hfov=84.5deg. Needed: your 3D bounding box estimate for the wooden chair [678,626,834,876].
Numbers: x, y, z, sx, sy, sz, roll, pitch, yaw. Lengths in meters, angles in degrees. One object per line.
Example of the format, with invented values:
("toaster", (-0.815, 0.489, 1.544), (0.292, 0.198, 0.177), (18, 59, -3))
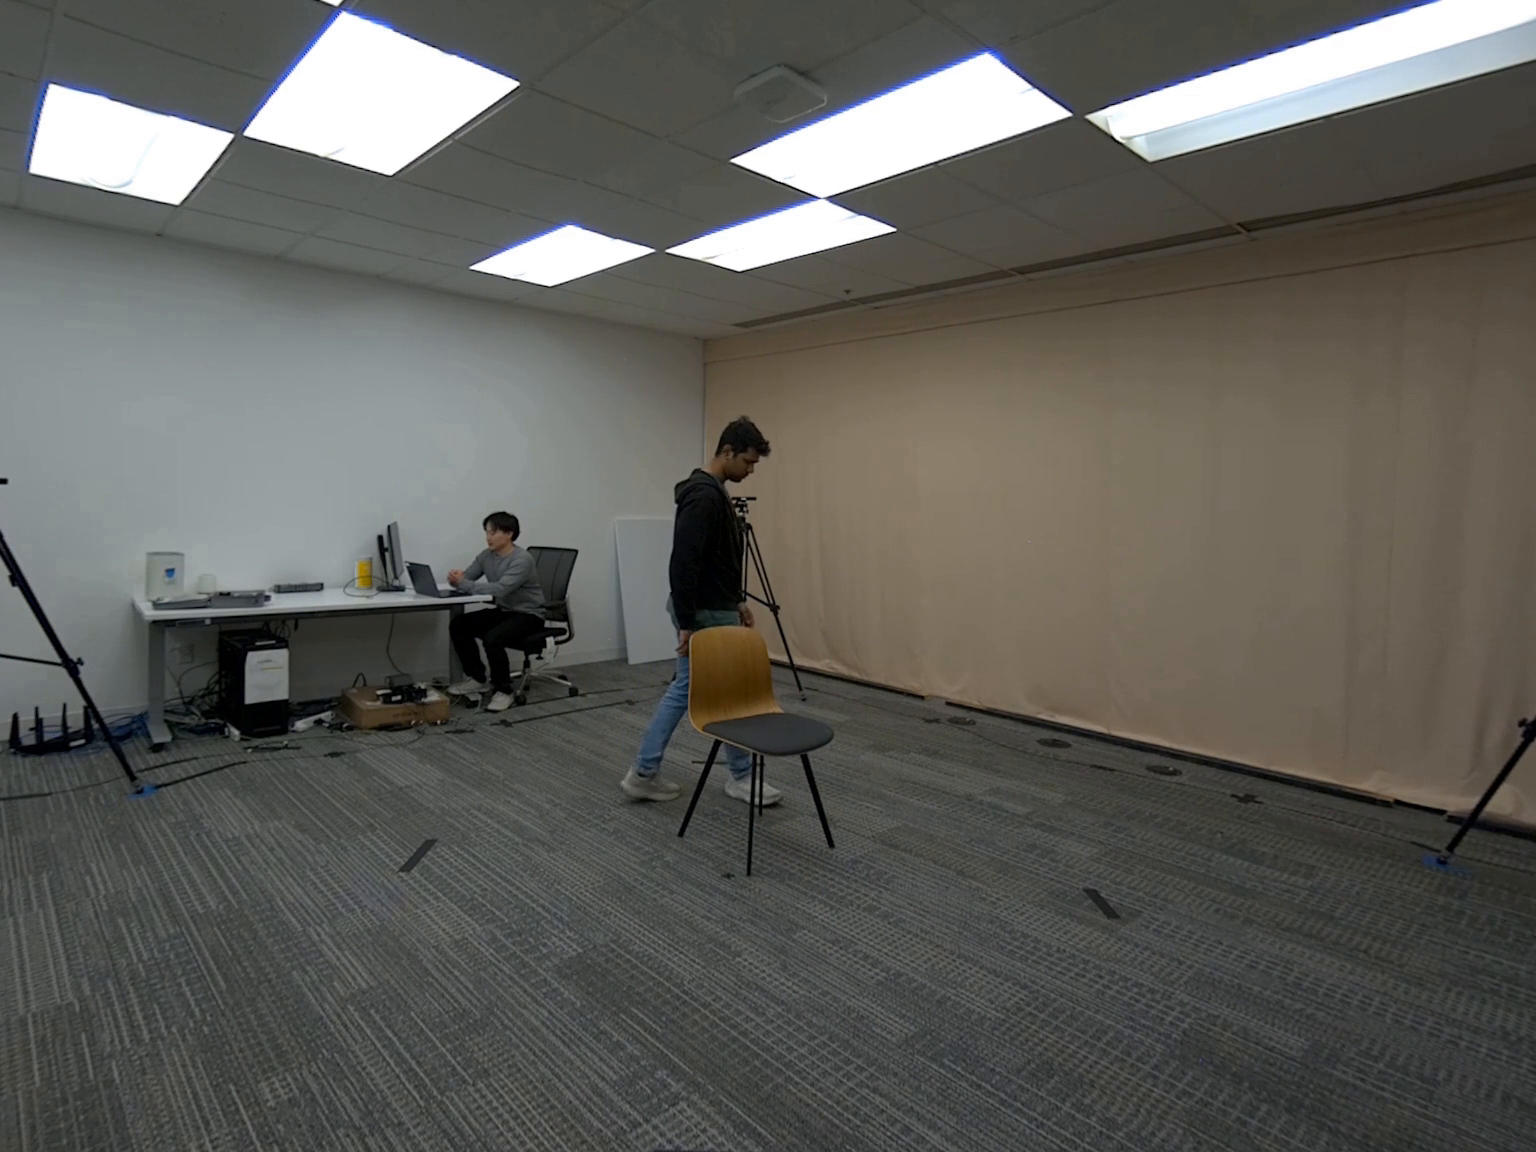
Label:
("wooden chair", (-0.042, 0.659, 3.378), (0.467, 0.878, 0.535), (-1, -1, -40))
